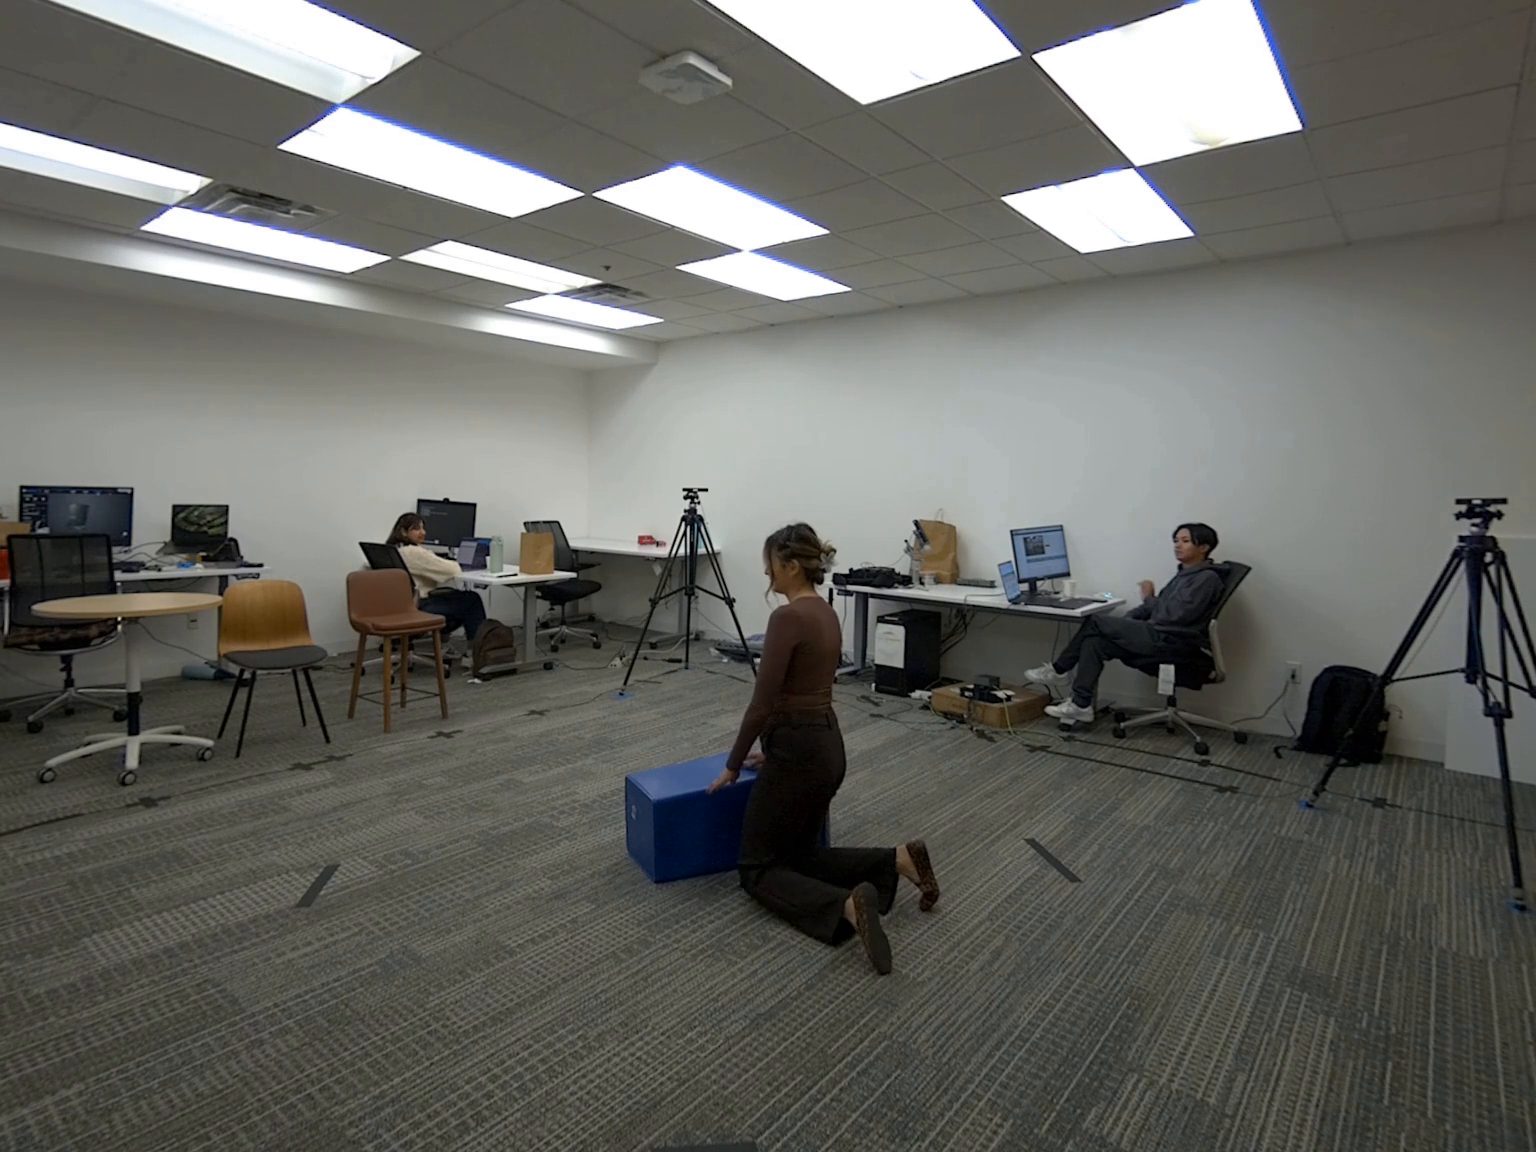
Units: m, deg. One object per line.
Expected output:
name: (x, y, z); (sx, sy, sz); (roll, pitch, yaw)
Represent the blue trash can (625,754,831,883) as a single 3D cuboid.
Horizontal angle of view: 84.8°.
blue trash can: (-0.168, 0.880, 3.254); (0.697, 0.376, 0.385); (-3, 6, -26)
